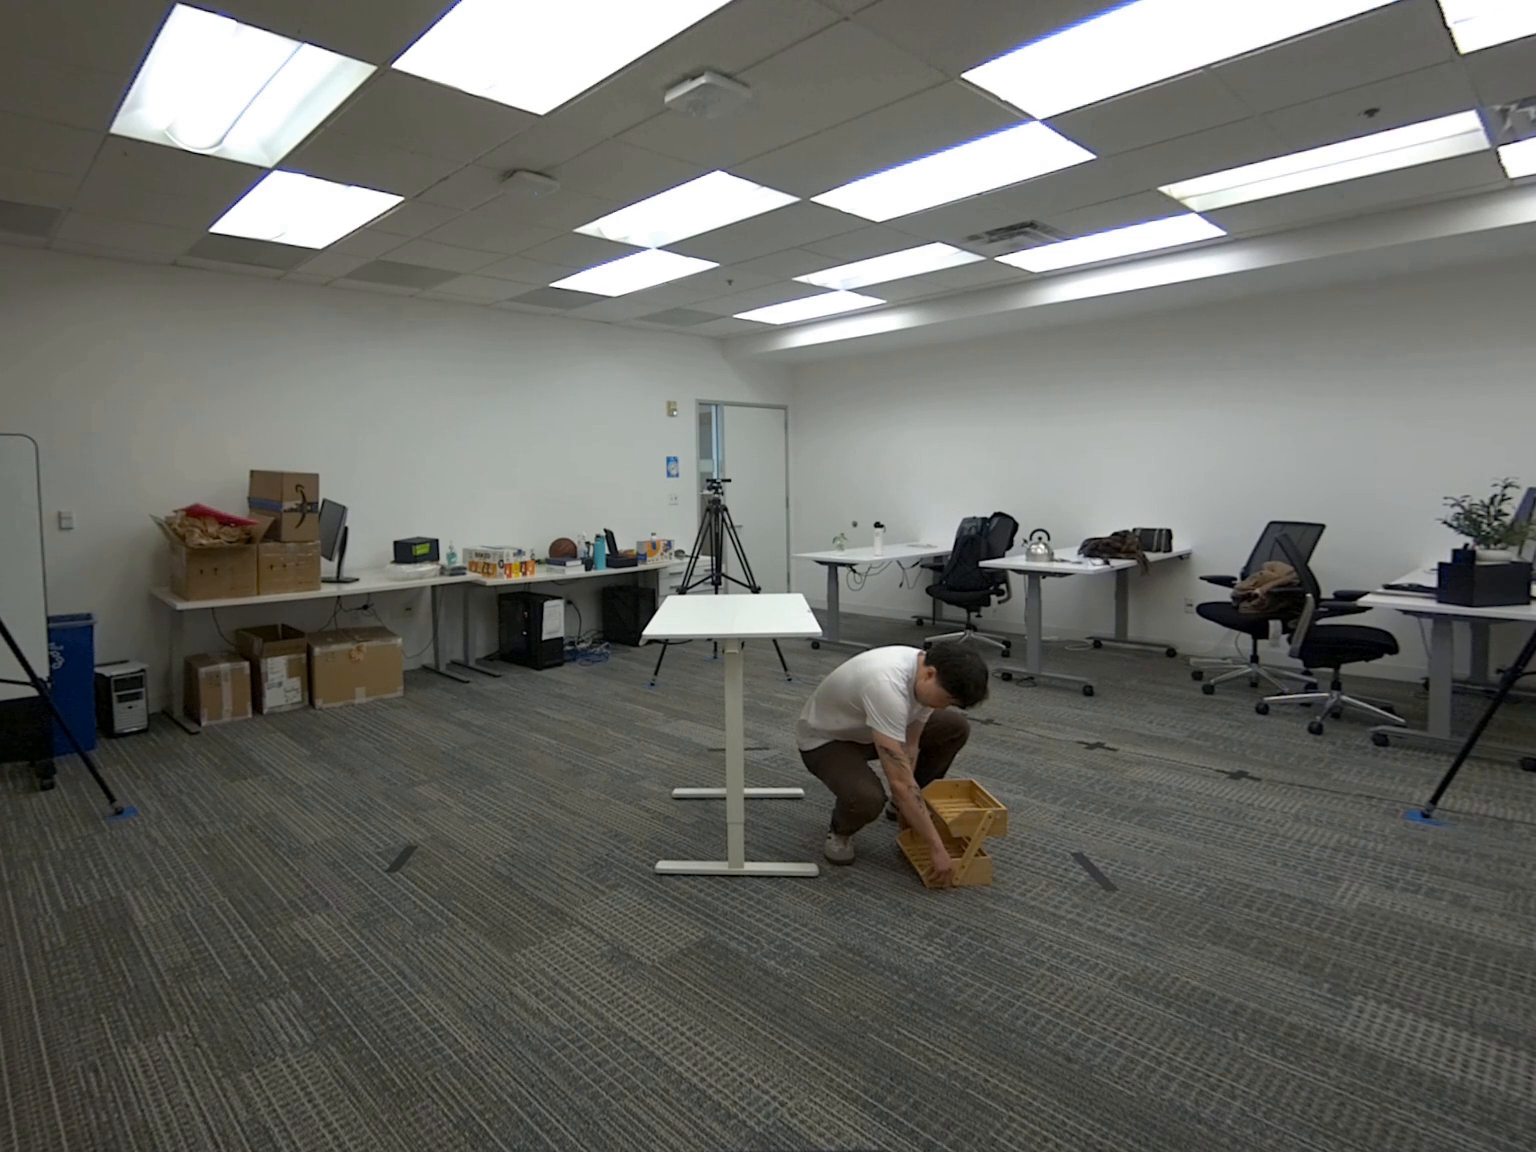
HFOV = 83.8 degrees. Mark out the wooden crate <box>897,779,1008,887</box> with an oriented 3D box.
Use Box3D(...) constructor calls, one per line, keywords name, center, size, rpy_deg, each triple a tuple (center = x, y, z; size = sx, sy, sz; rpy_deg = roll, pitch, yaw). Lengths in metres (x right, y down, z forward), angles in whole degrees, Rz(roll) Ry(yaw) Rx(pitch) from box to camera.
Box3D(name="wooden crate", center=(0.636, 0.902, 3.051), size=(0.300, 0.272, 0.328), rpy_deg=(-1, 5, -7))
